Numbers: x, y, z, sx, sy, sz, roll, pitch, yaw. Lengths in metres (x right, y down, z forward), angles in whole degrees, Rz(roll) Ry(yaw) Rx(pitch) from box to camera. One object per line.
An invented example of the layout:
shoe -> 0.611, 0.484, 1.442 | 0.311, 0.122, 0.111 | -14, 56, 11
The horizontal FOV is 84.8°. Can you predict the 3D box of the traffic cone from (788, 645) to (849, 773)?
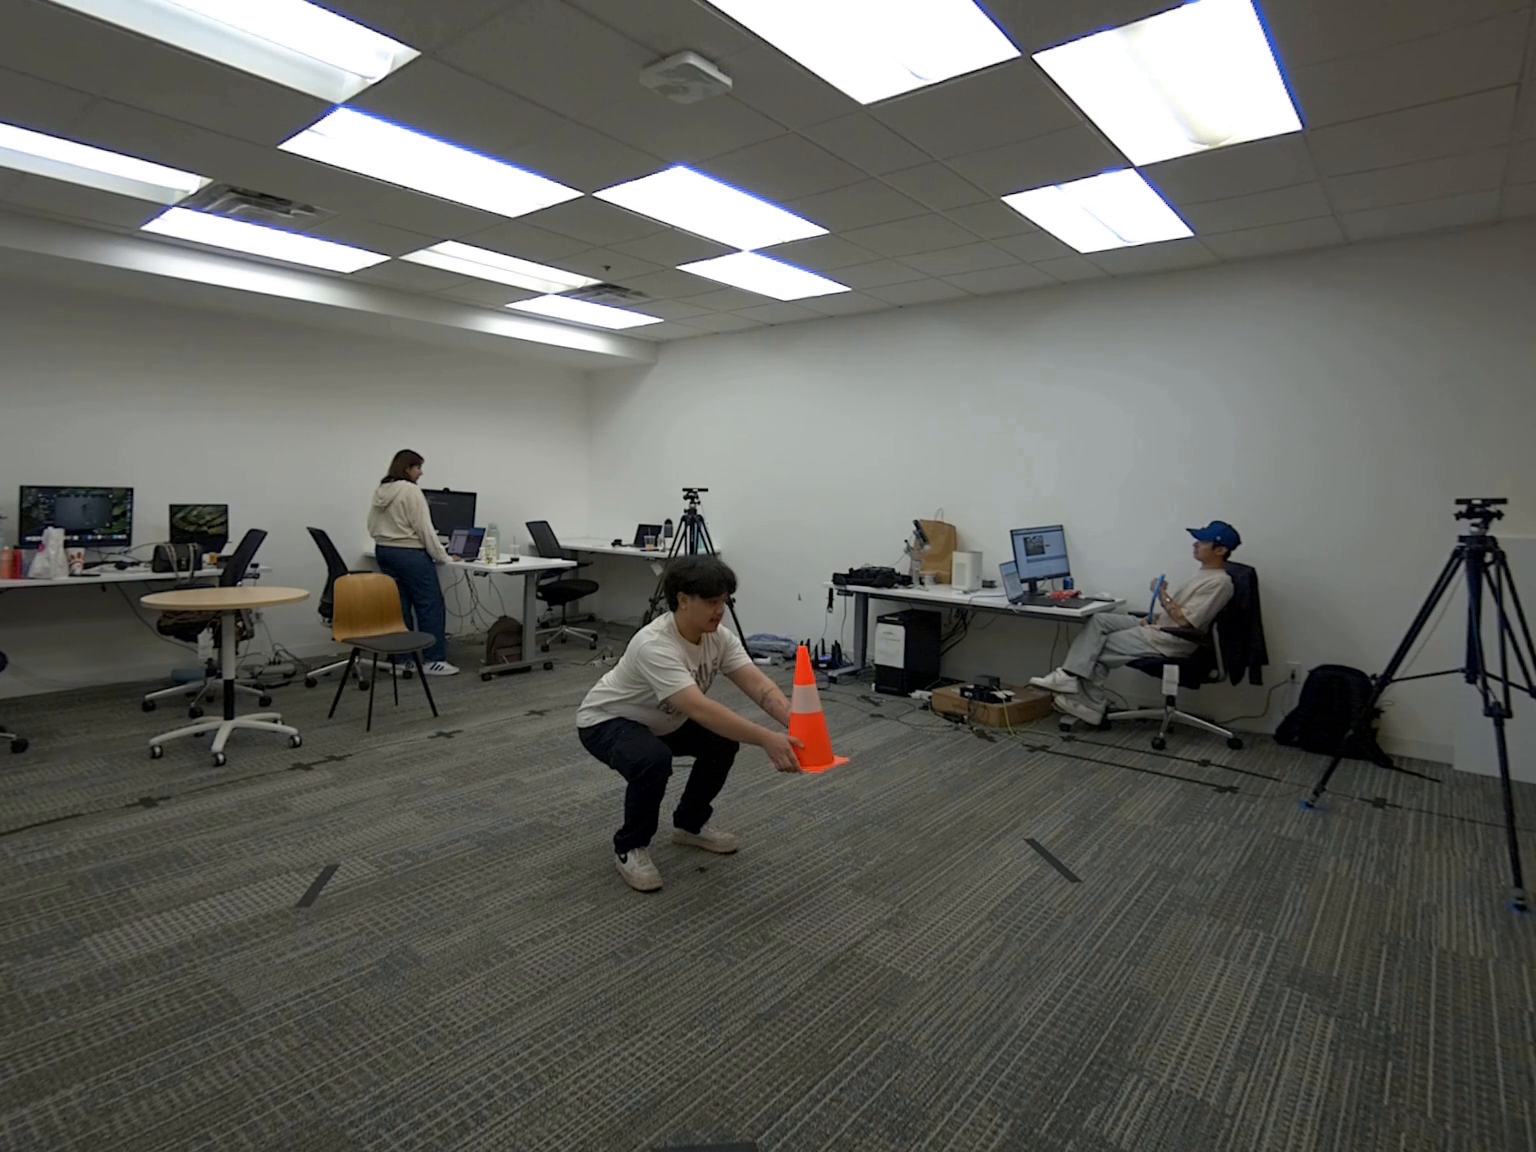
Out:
traffic cone -> 0.123, 0.409, 2.798 | 0.209, 0.384, 0.199 | -1, 0, 28
